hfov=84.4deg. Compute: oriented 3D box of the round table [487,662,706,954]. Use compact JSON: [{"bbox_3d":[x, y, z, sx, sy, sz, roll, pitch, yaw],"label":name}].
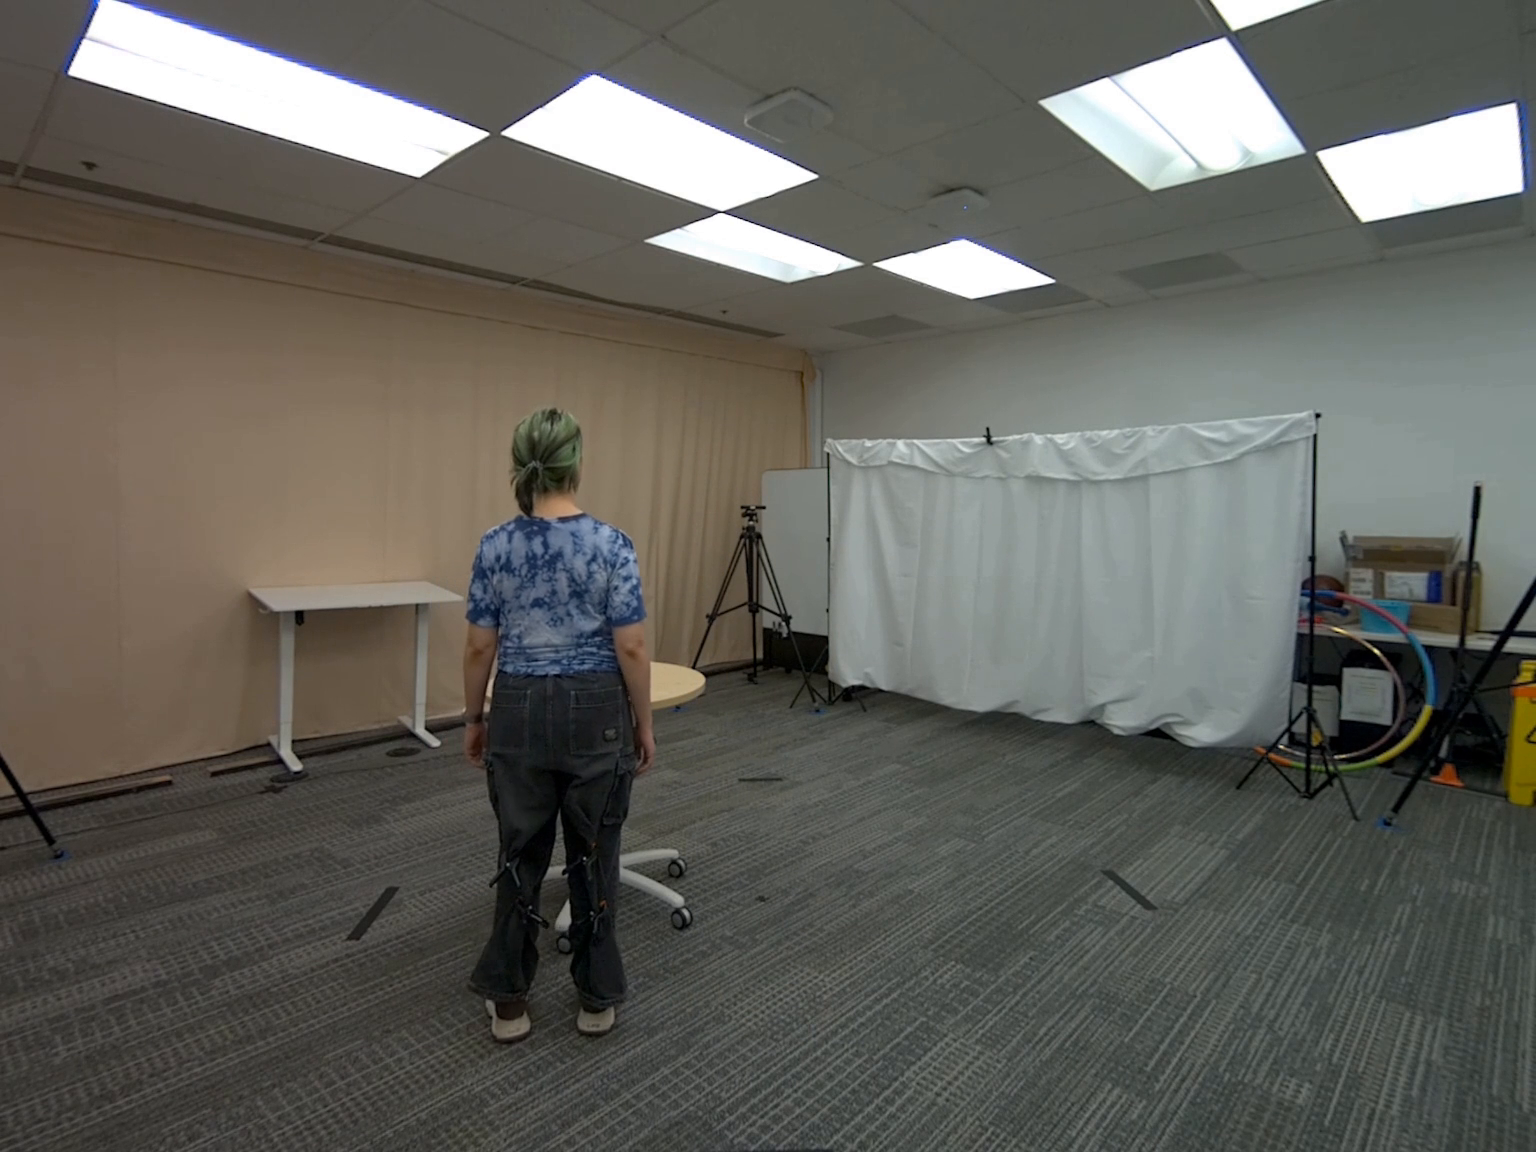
[{"bbox_3d":[-0.595,0.764,2.947,0.763,0.792,0.766,-1,4,-2],"label":"round table"}]
